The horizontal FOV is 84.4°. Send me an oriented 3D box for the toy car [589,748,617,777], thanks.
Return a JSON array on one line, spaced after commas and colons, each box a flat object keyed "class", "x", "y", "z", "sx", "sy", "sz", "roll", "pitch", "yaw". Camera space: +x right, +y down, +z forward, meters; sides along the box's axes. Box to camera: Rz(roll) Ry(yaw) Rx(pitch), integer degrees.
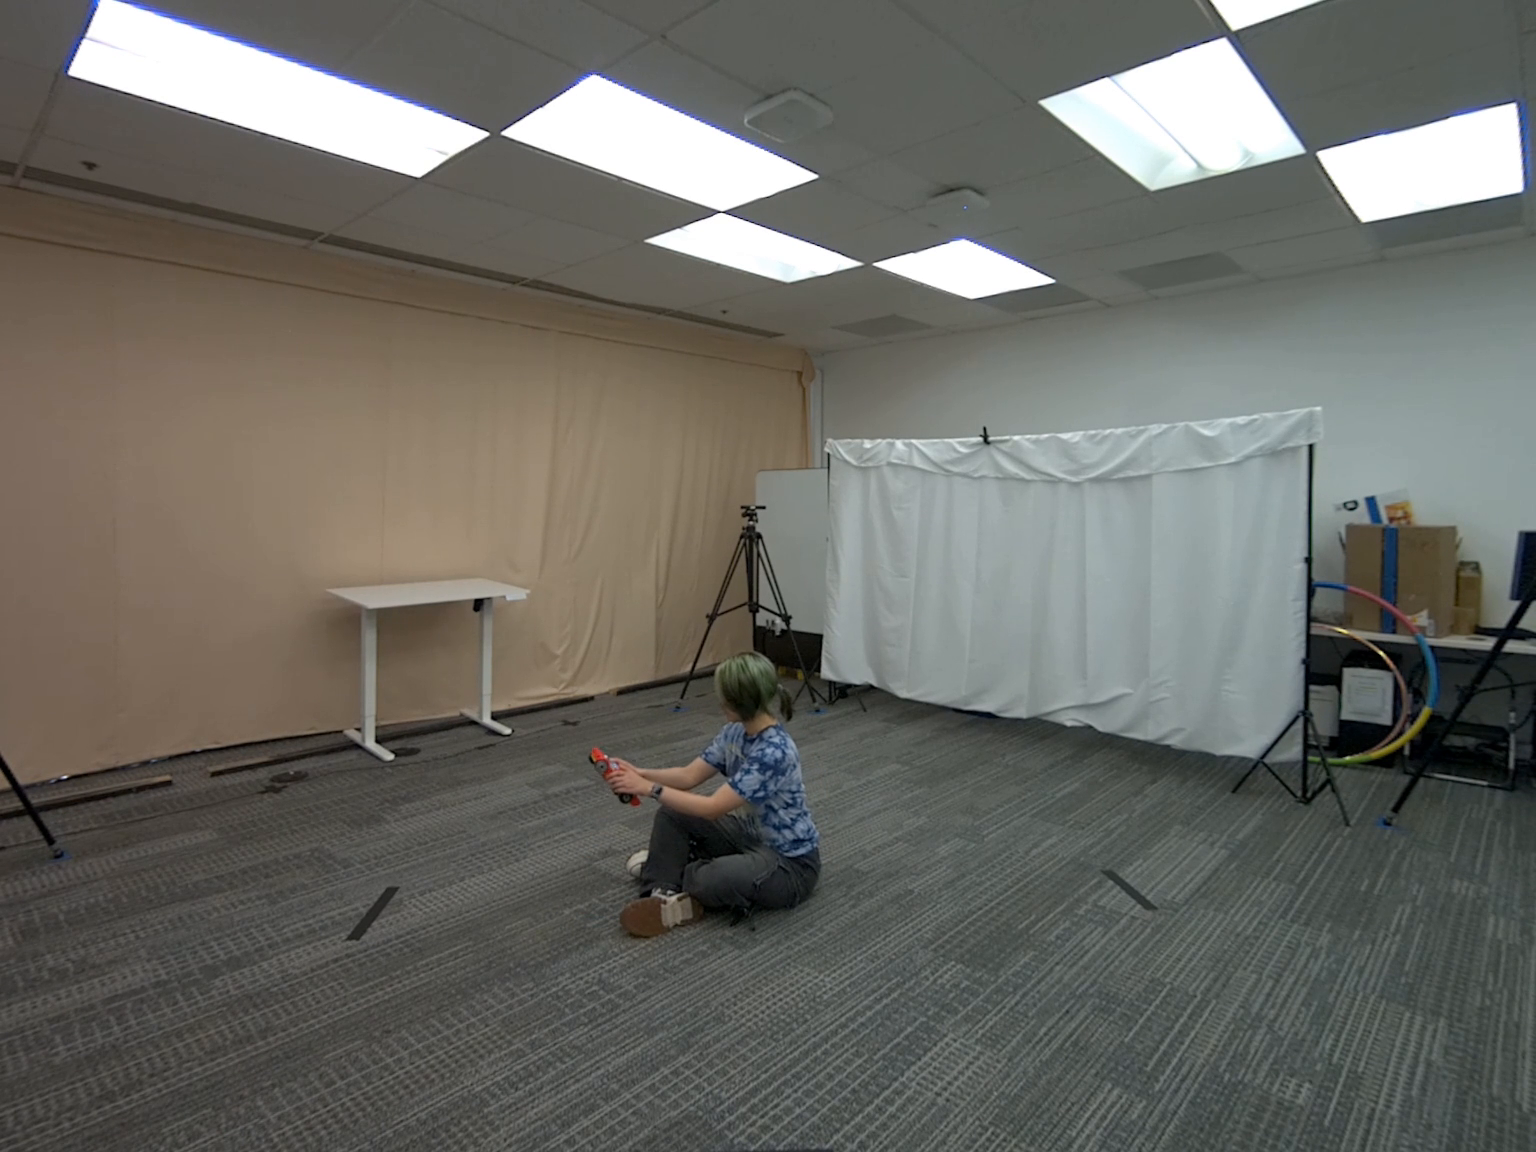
[{"class": "toy car", "x": -0.529, "y": 0.723, "z": 2.934, "sx": 0.249, "sy": 0.083, "sz": 0.133, "roll": 46, "pitch": -14, "yaw": -19}]
